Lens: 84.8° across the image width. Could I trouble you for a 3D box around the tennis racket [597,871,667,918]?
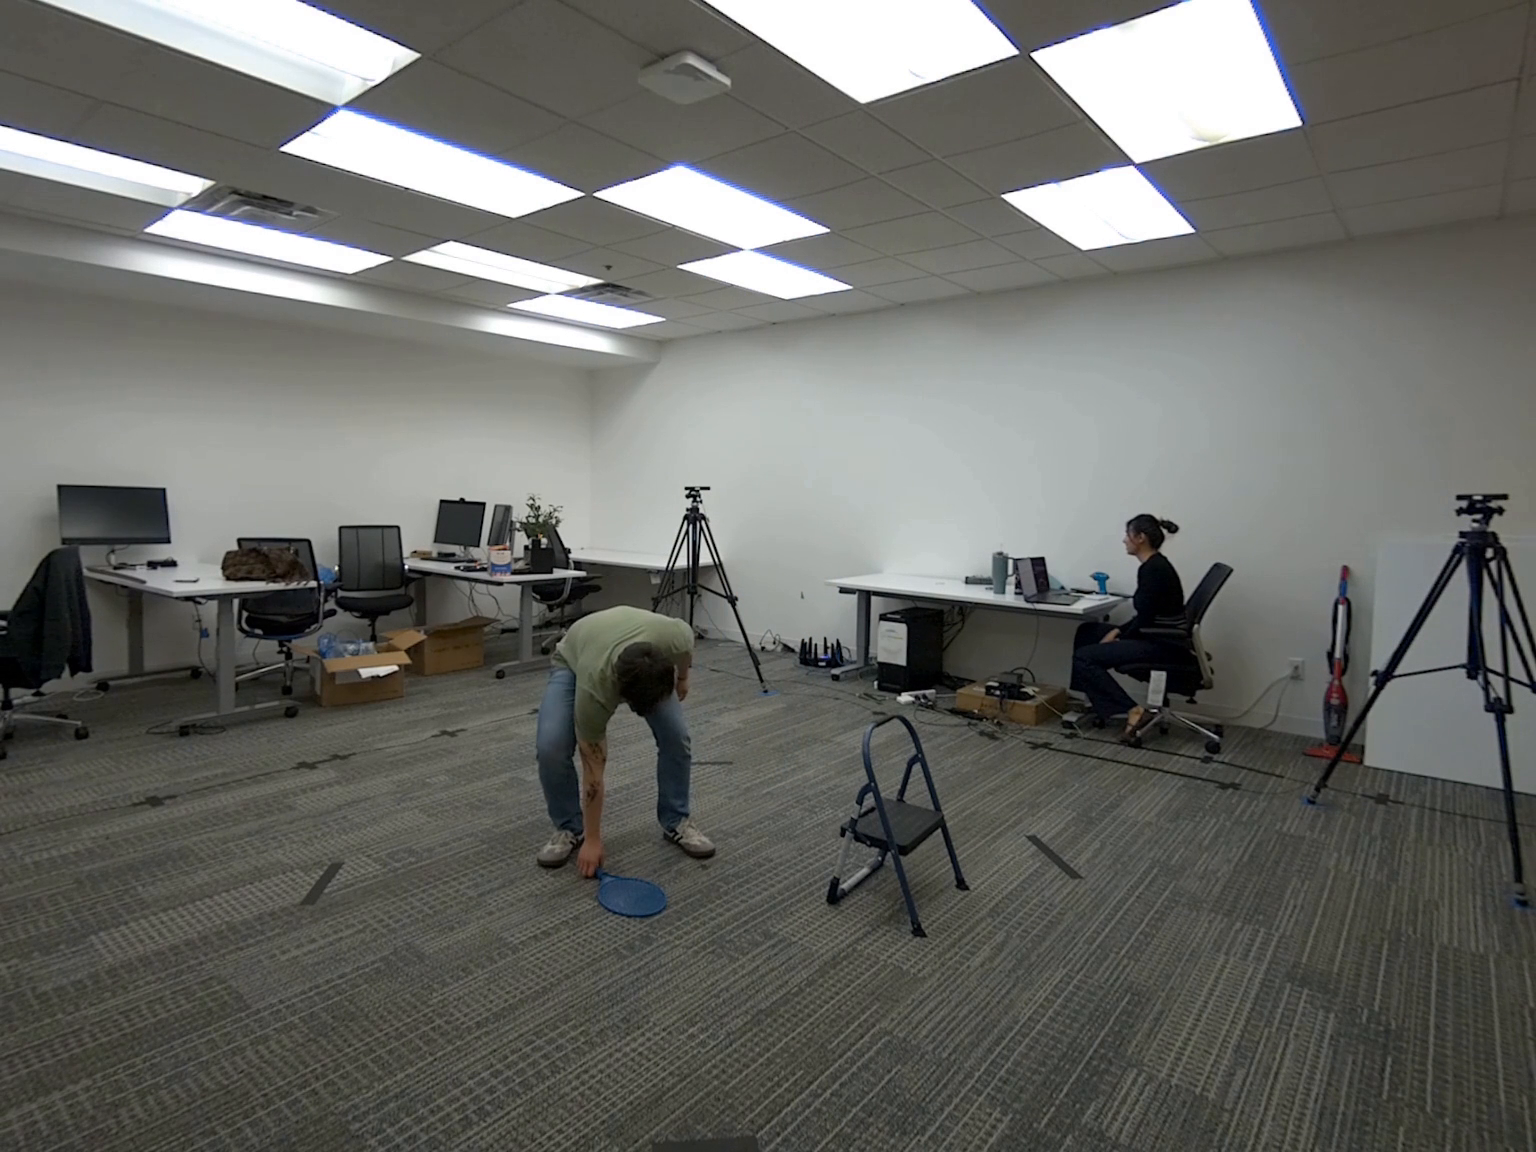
[{"bbox_3d":[-0.522,1.068,2.916,0.207,0.031,0.448,-6,9,-42],"label":"tennis racket"}]
